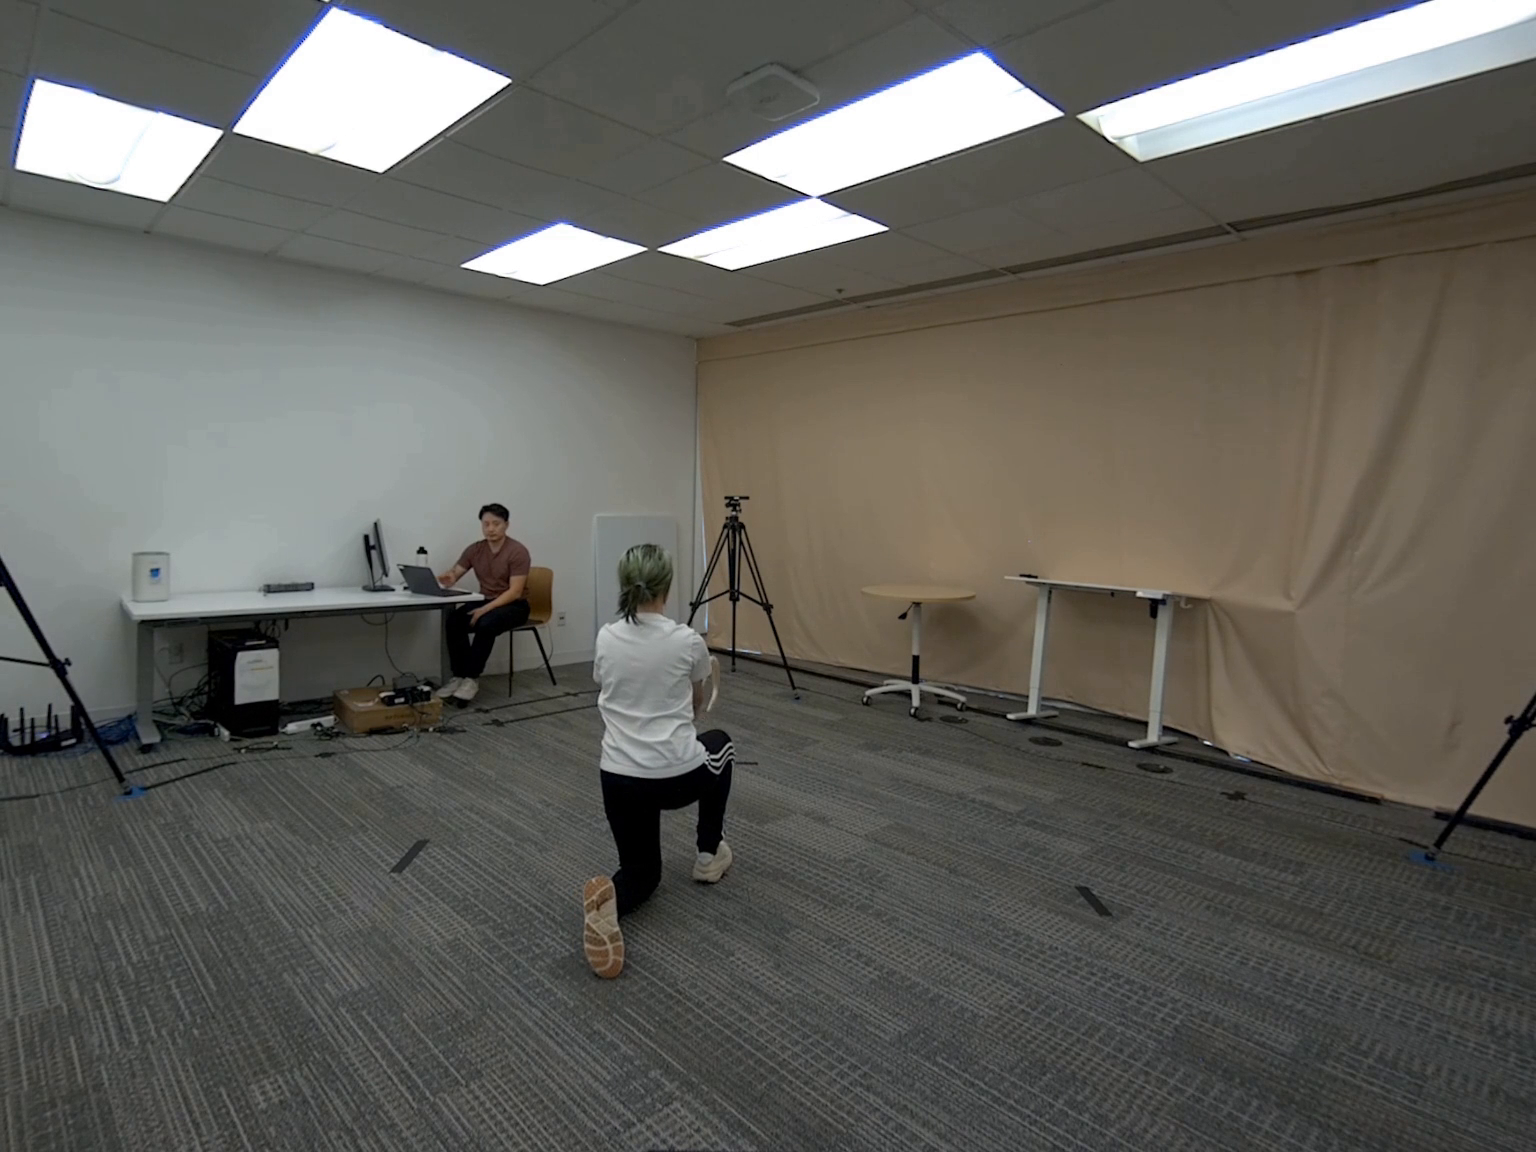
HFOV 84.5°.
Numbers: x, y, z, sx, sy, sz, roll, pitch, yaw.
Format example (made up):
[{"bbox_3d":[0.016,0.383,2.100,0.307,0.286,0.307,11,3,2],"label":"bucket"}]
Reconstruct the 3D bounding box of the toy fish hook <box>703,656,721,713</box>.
[{"bbox_3d":[-0.294,0.524,3.510,0.049,0.220,0.509,1,27,17],"label":"toy fish hook"}]
